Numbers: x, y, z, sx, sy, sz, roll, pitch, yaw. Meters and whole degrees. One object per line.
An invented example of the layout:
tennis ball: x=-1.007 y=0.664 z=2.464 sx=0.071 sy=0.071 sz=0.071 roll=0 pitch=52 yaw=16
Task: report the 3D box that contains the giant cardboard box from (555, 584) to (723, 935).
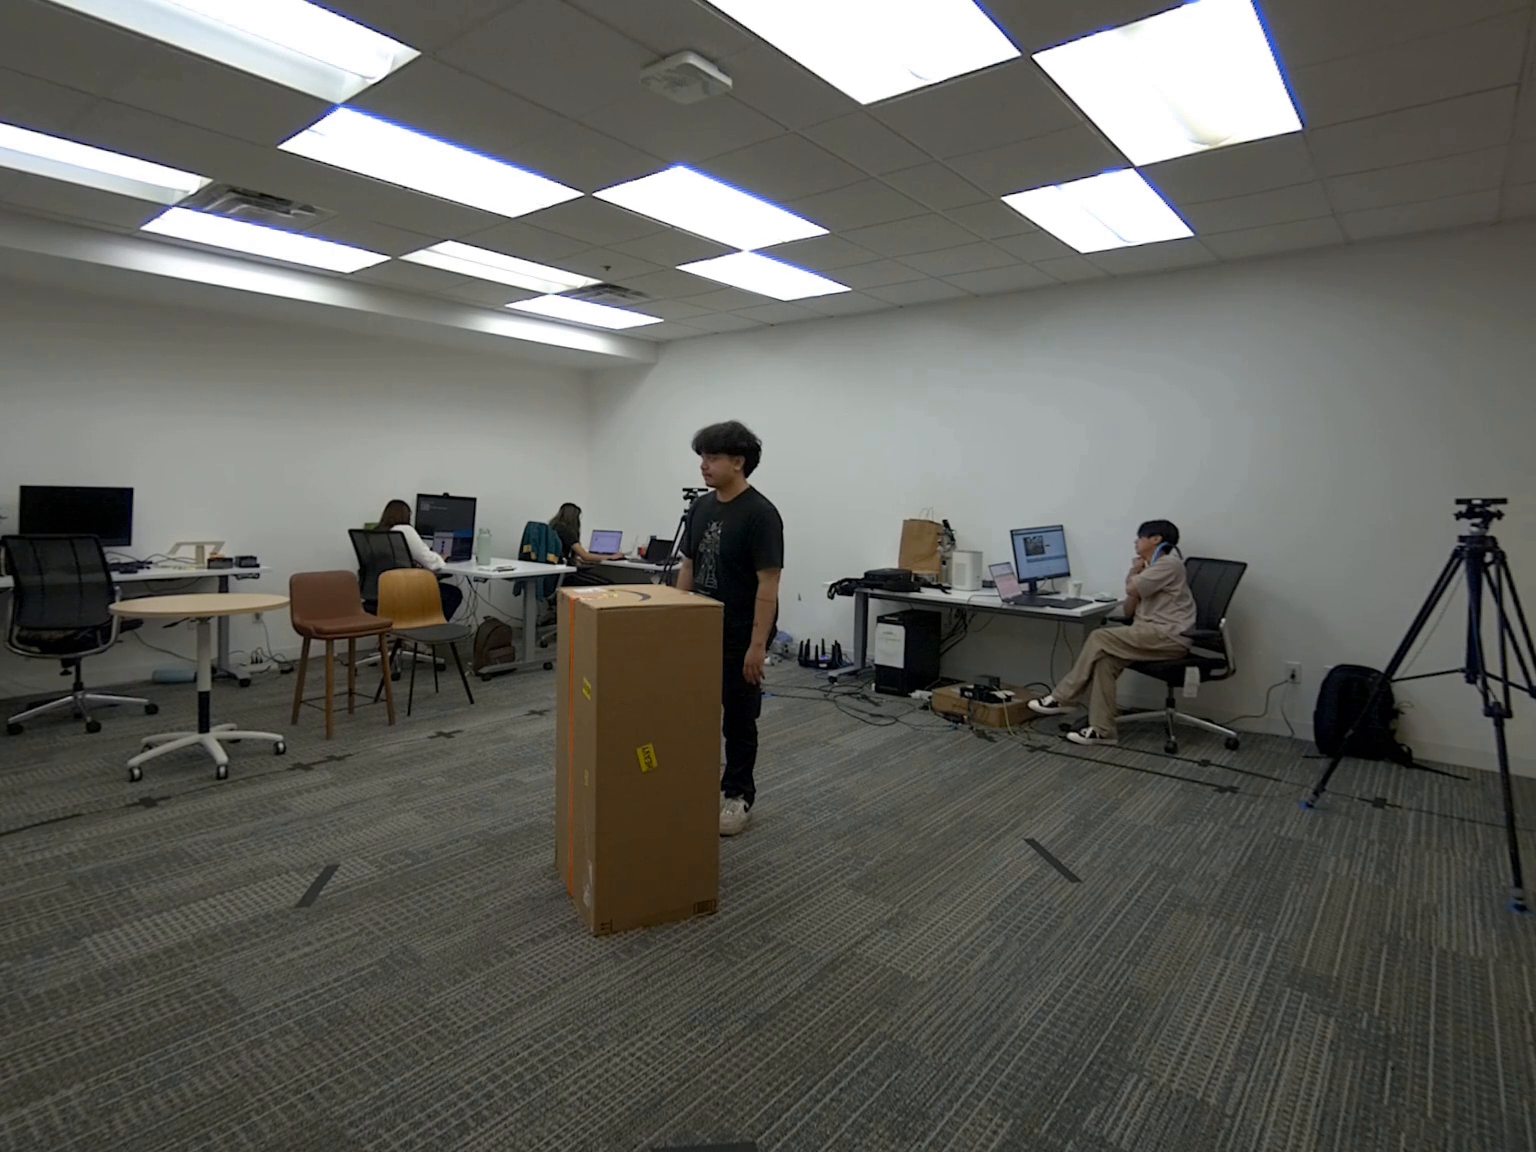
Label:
giant cardboard box: x=-0.479 y=0.569 z=2.938 sx=0.436 sy=1.024 sz=0.599 roll=-1 pitch=4 yaw=-25
